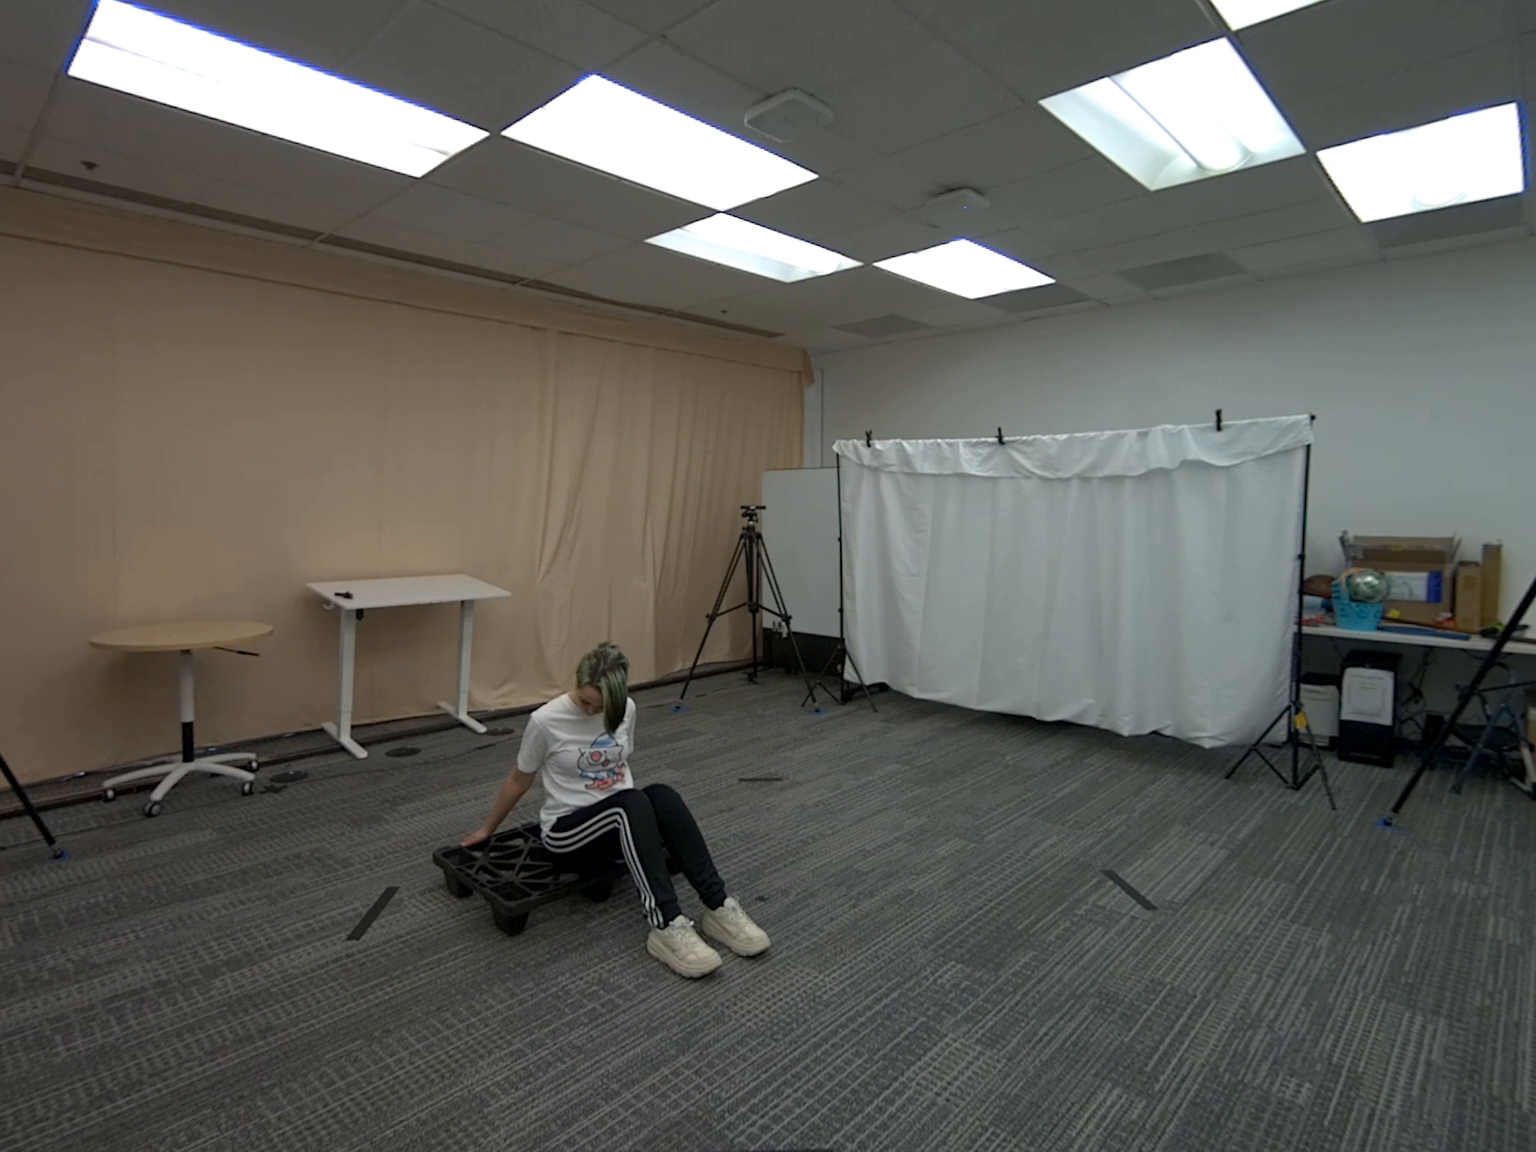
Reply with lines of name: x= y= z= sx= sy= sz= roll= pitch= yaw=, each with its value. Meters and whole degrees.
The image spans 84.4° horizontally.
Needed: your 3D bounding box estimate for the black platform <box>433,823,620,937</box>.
black platform: x=-0.741 y=1.072 z=3.142 sx=0.781 sy=0.143 sz=0.625 roll=-5 pitch=7 yaw=-43
